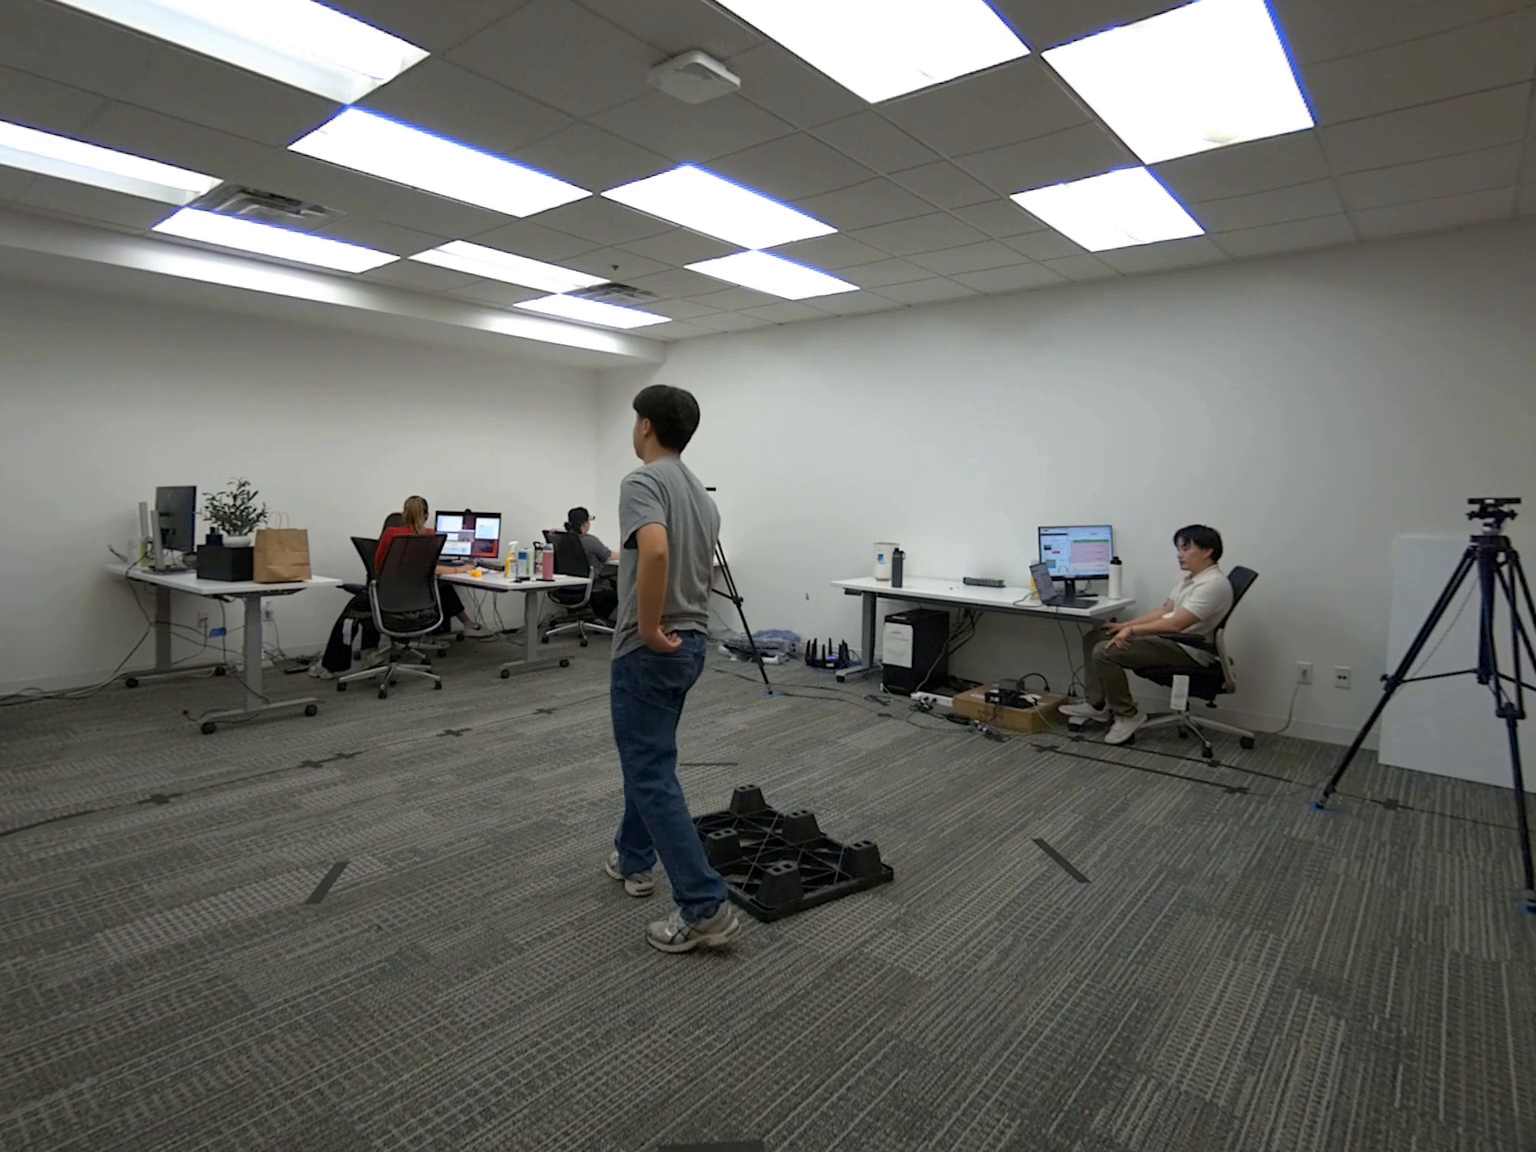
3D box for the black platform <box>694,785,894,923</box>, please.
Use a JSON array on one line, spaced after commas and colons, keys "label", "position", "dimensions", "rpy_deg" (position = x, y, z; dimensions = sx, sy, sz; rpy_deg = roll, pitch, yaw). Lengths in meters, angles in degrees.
[{"label": "black platform", "position": [-0.034, 0.995, 3.203], "dimensions": [0.587, 0.143, 0.833], "rpy_deg": [-2, 6, -37]}]
